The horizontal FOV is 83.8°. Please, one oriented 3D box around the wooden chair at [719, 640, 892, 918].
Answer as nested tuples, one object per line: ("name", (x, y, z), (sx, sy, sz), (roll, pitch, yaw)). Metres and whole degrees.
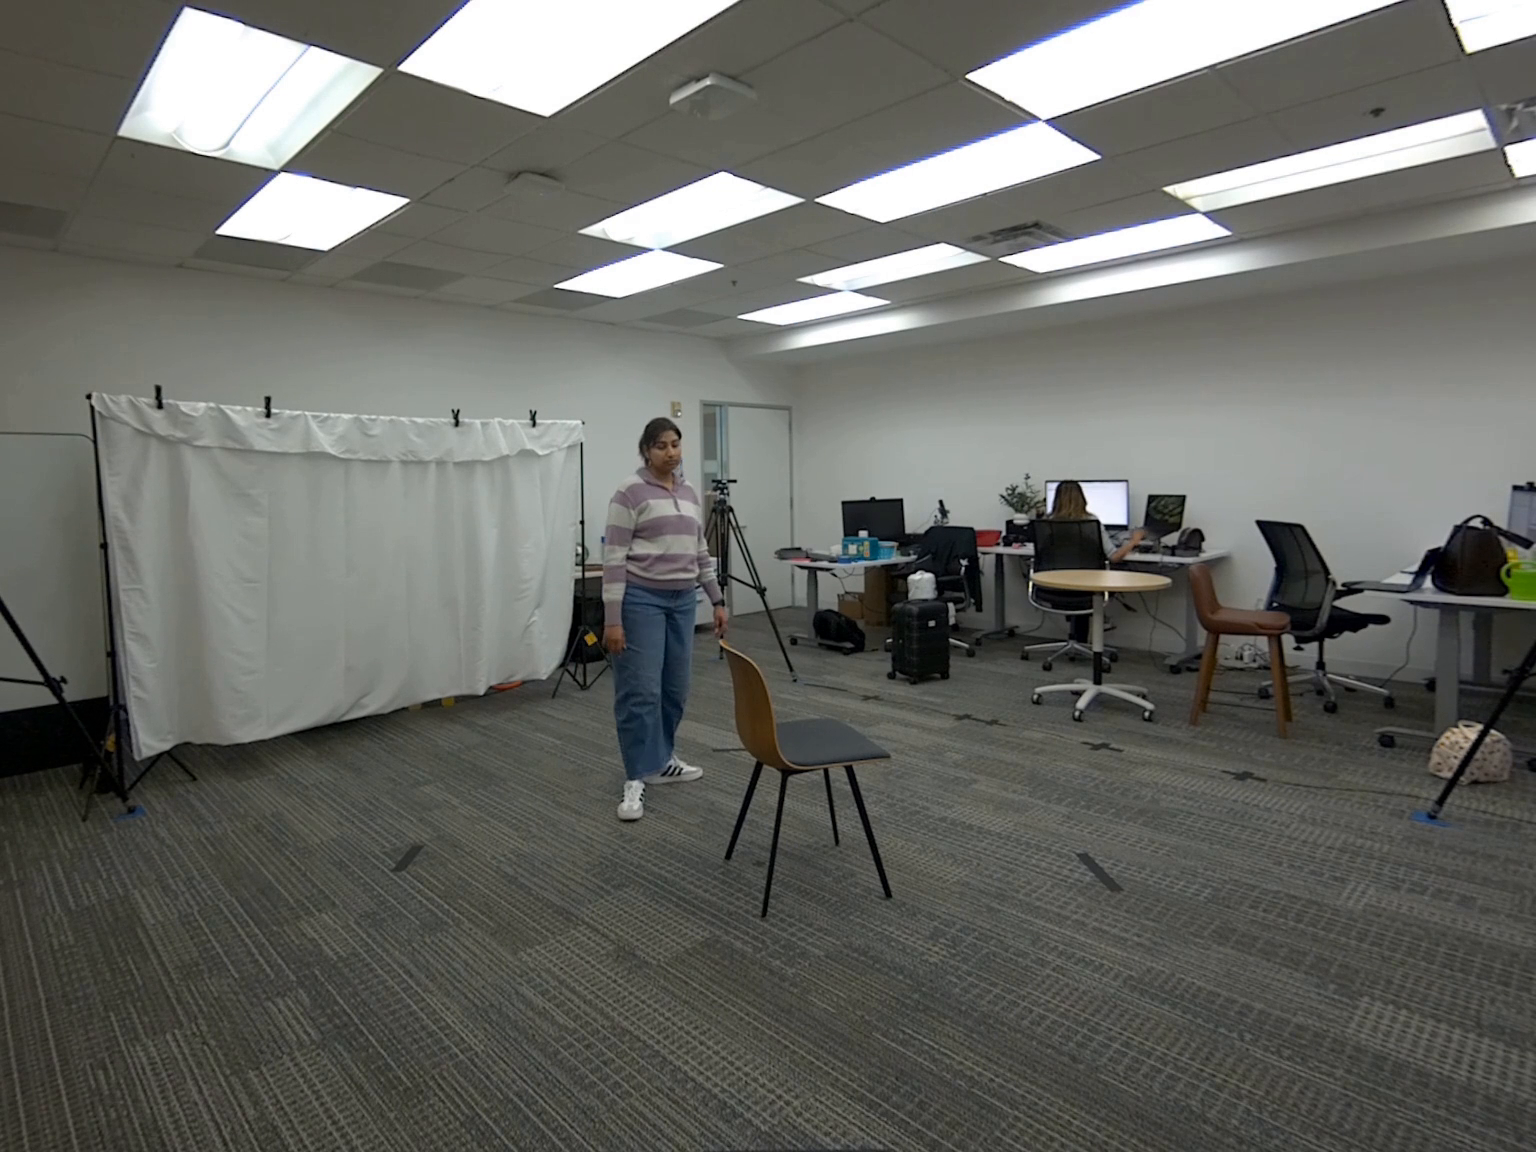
("wooden chair", (0.129, 0.632, 2.965), (0.516, 0.873, 0.487), (-6, 5, -17))
